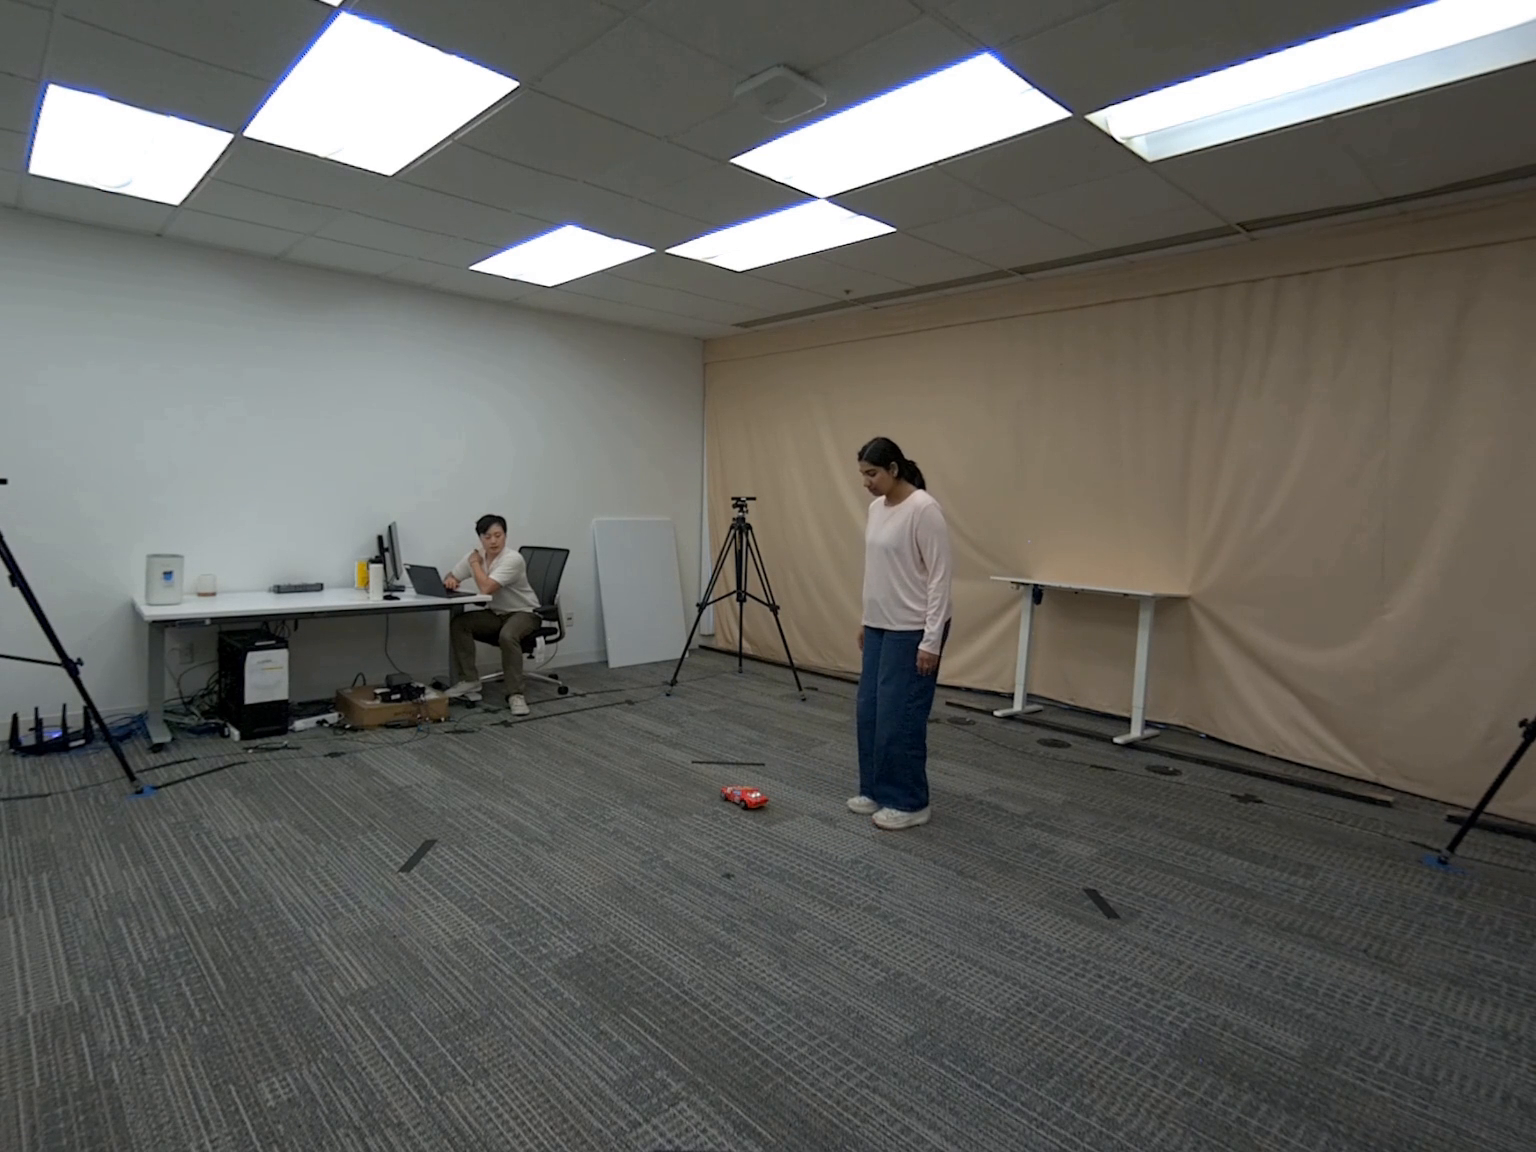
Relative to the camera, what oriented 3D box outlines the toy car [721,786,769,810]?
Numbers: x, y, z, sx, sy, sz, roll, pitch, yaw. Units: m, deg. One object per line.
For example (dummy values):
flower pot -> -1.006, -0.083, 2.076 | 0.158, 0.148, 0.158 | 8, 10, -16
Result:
toy car -> -0.114, 1.008, 3.853 | 0.127, 0.083, 0.259 | -1, -5, -39
